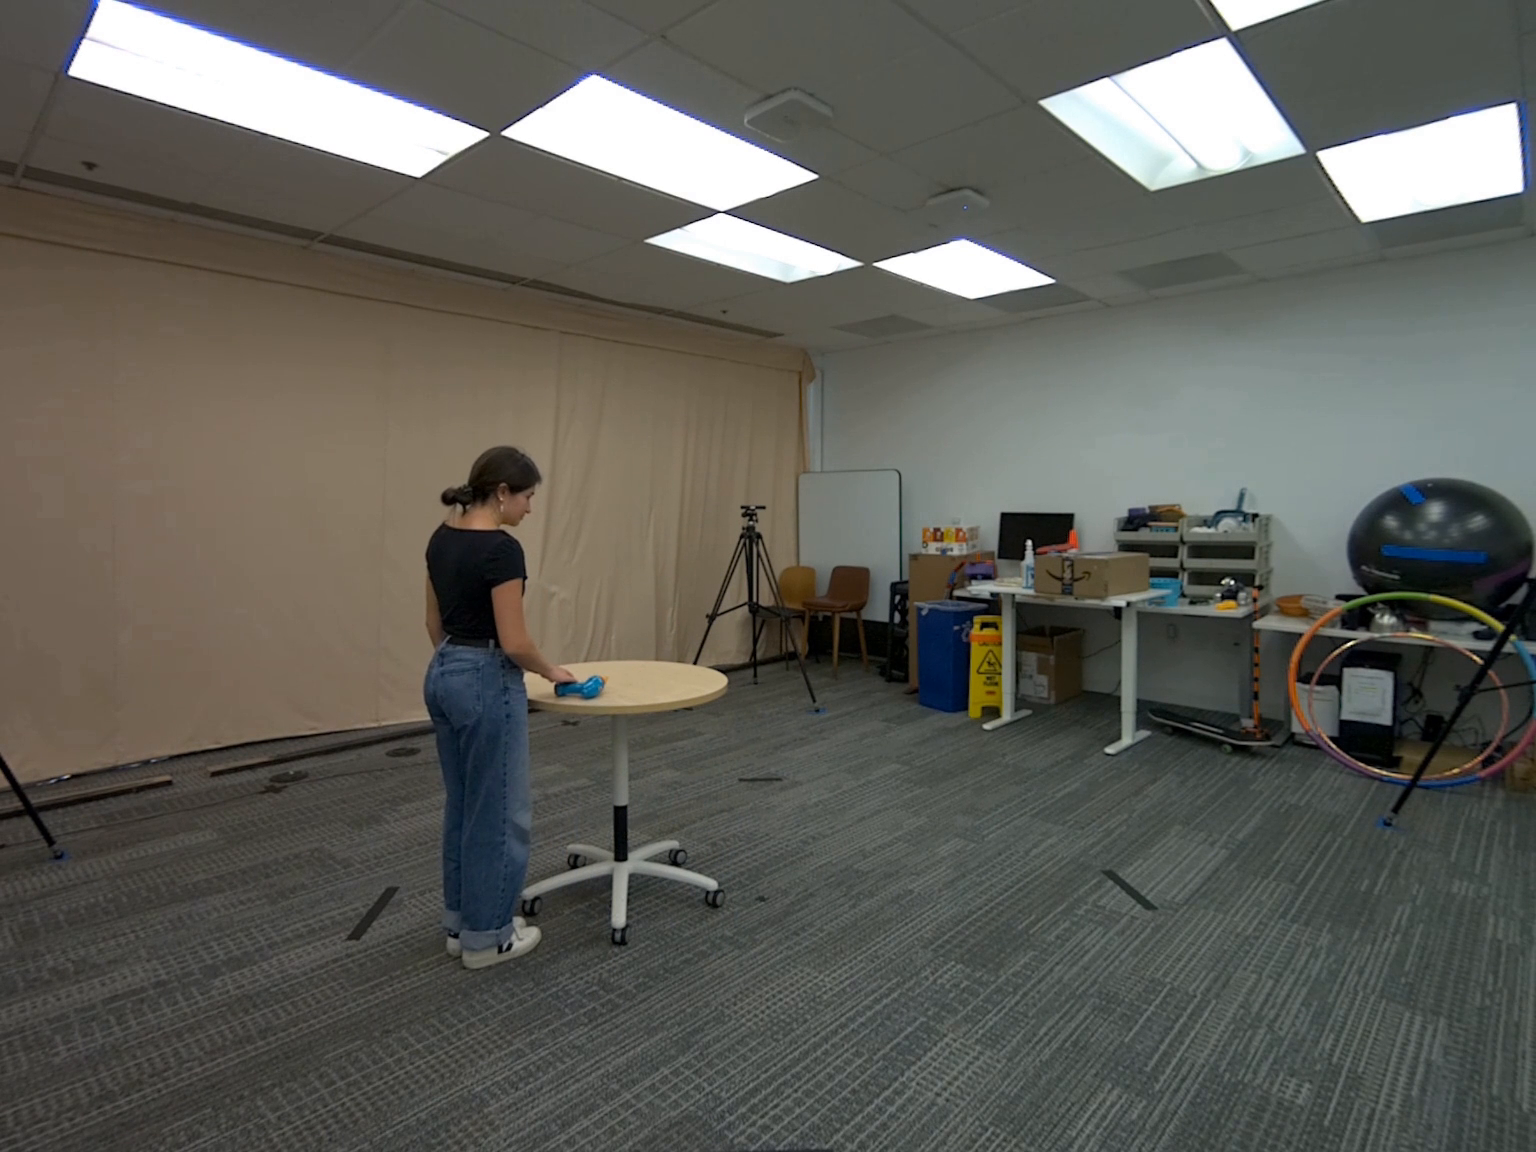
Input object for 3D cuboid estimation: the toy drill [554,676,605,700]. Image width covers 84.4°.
[{"bbox_3d":[-0.589,0.358,2.719,0.148,0.061,0.168,1,13,14],"label":"toy drill"}]
